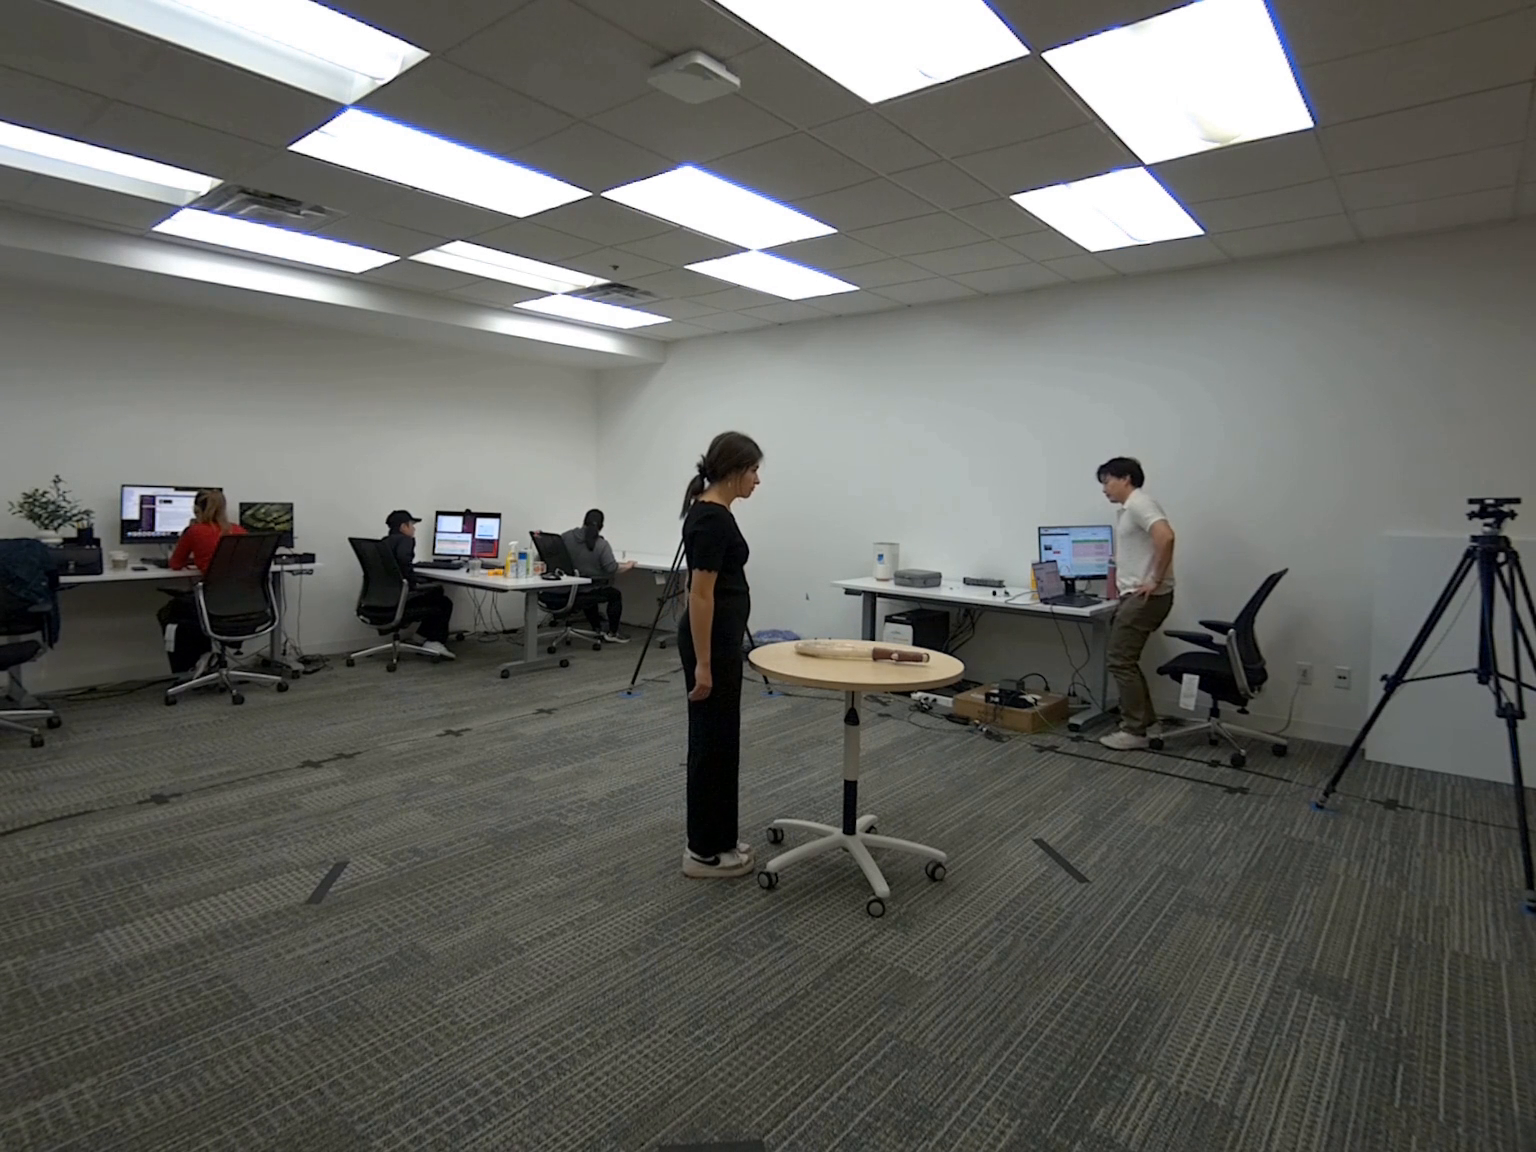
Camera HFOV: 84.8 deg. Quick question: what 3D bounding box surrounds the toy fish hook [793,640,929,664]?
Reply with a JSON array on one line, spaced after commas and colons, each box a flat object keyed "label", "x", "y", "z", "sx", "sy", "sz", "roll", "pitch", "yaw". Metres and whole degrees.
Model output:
[{"label": "toy fish hook", "x": 0.342, "y": 0.275, "z": 3.128, "sx": 0.520, "sy": 0.048, "sz": 0.220, "roll": 3, "pitch": 10, "yaw": 25}]
